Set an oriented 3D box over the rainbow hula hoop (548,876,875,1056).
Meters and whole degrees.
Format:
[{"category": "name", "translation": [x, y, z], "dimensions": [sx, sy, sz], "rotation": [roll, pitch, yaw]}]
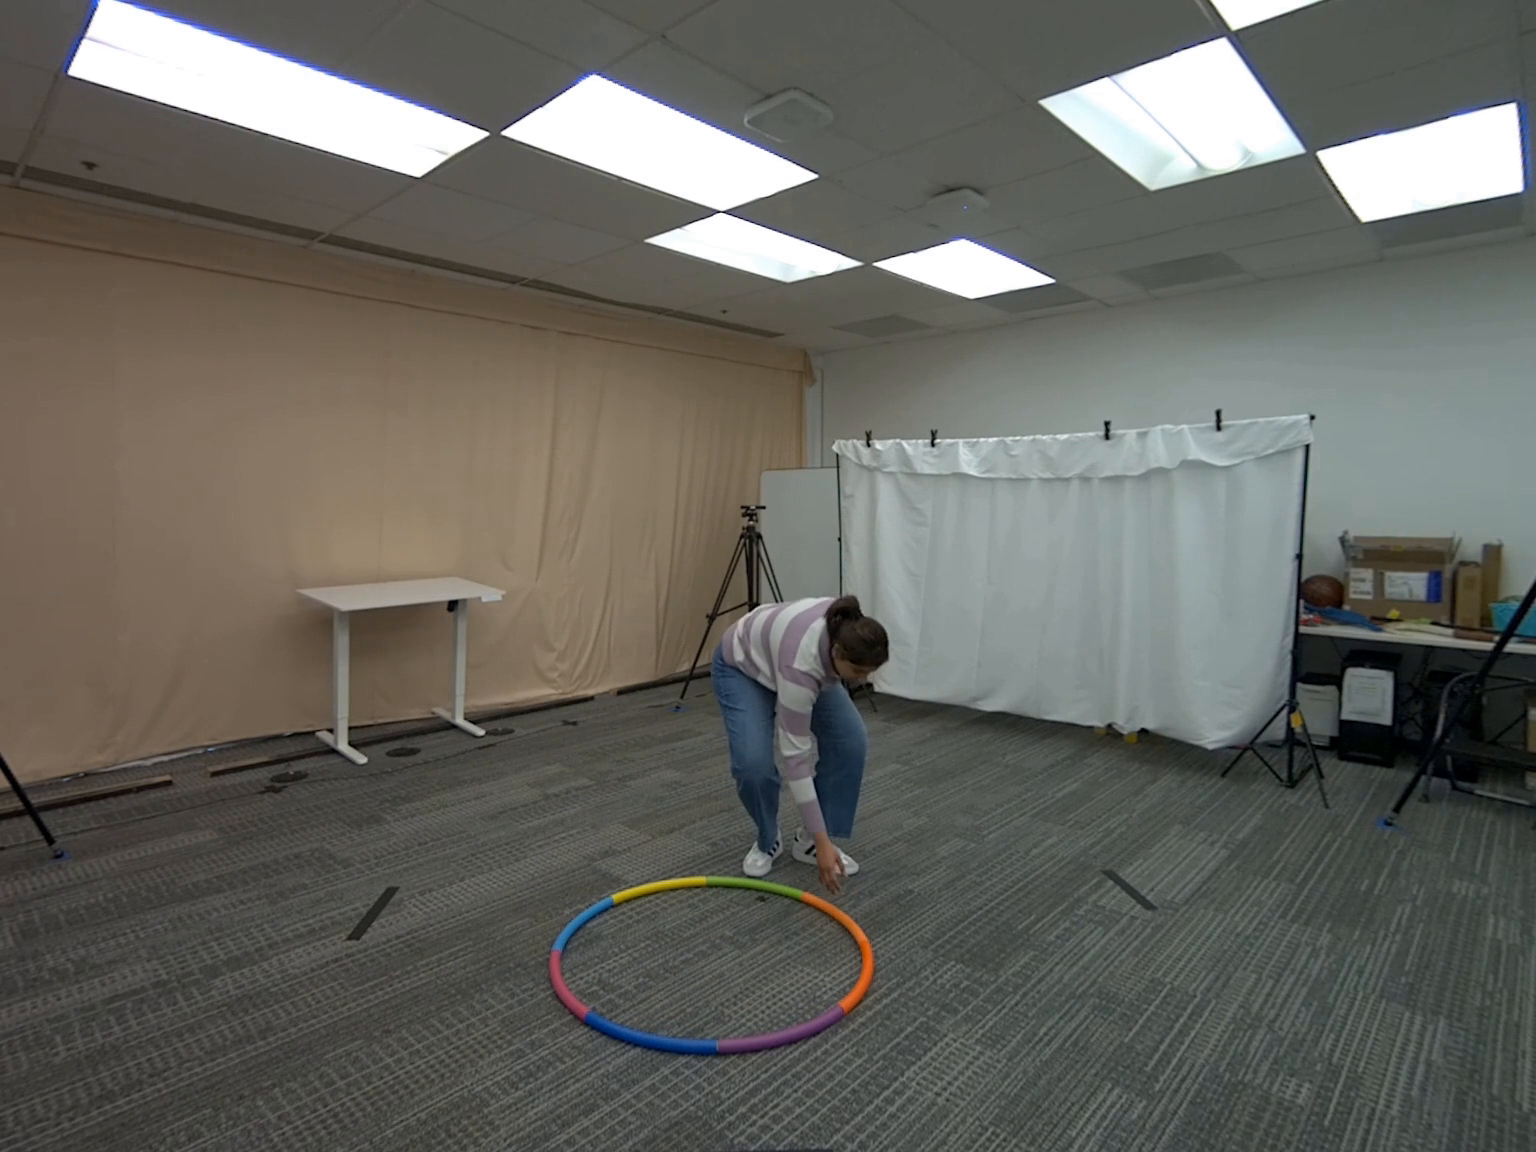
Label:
[{"category": "rainbow hula hoop", "translation": [-0.176, 1.147, 2.615], "dimensions": [0.978, 0.035, 0.982], "rotation": [0, 5, -2]}]
